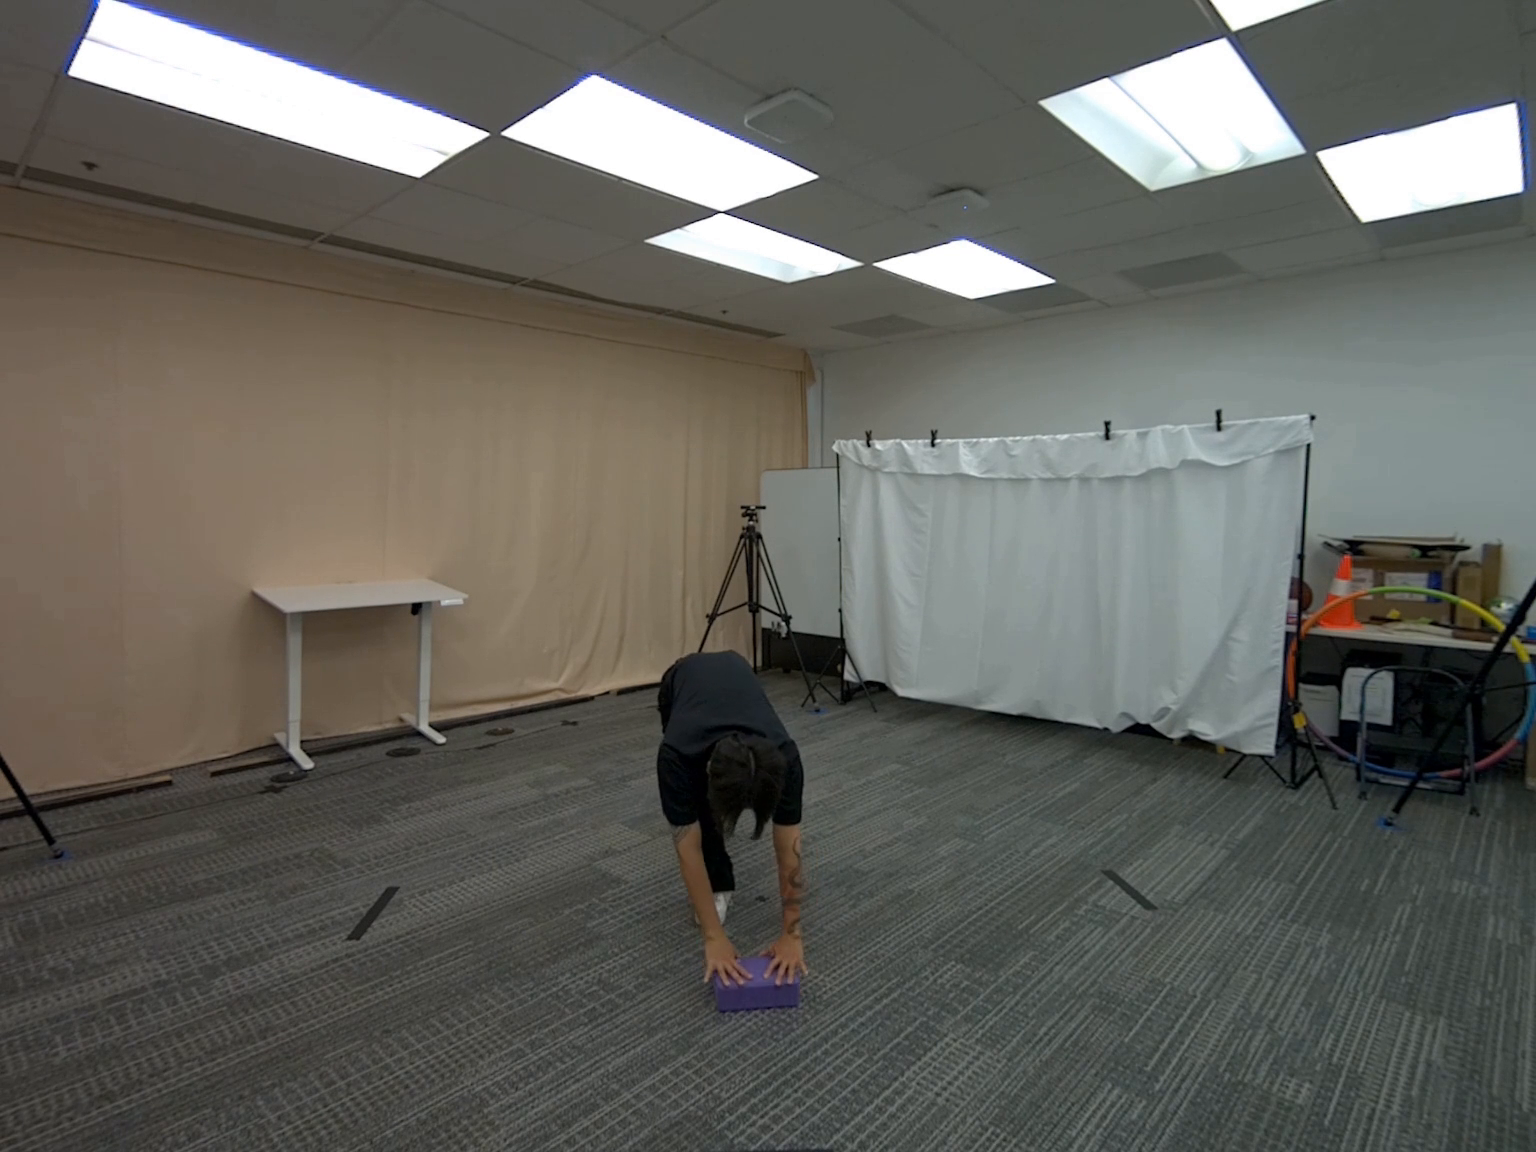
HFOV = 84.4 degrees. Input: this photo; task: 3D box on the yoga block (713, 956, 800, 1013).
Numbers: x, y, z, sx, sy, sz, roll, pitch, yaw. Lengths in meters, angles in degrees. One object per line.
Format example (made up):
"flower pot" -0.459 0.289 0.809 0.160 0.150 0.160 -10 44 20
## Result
"yoga block" -0.035 1.154 2.392 0.228 0.076 0.150 0 3 -7
